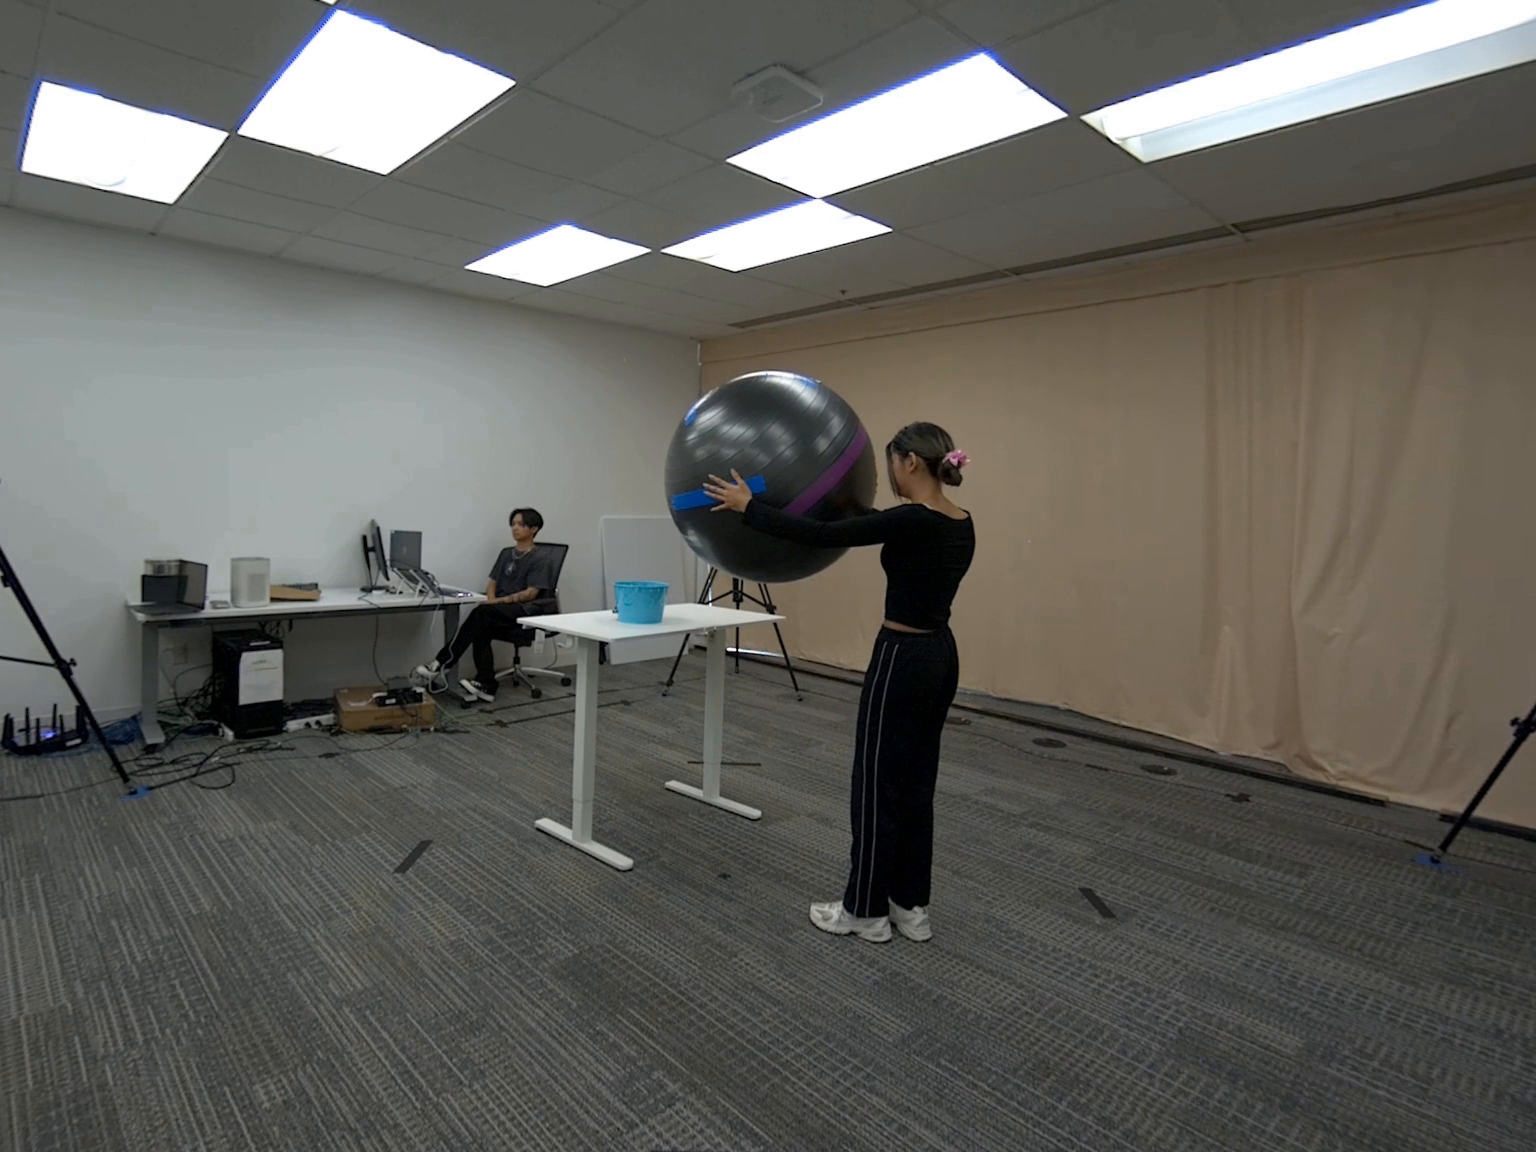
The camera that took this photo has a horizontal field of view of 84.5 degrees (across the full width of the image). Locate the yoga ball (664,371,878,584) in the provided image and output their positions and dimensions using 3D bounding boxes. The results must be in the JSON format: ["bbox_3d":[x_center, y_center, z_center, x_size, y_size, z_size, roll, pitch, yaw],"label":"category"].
[{"bbox_3d":[0.002,-0.343,3.026,0.757,0.756,0.760,1,4,-1],"label":"yoga ball"}]
